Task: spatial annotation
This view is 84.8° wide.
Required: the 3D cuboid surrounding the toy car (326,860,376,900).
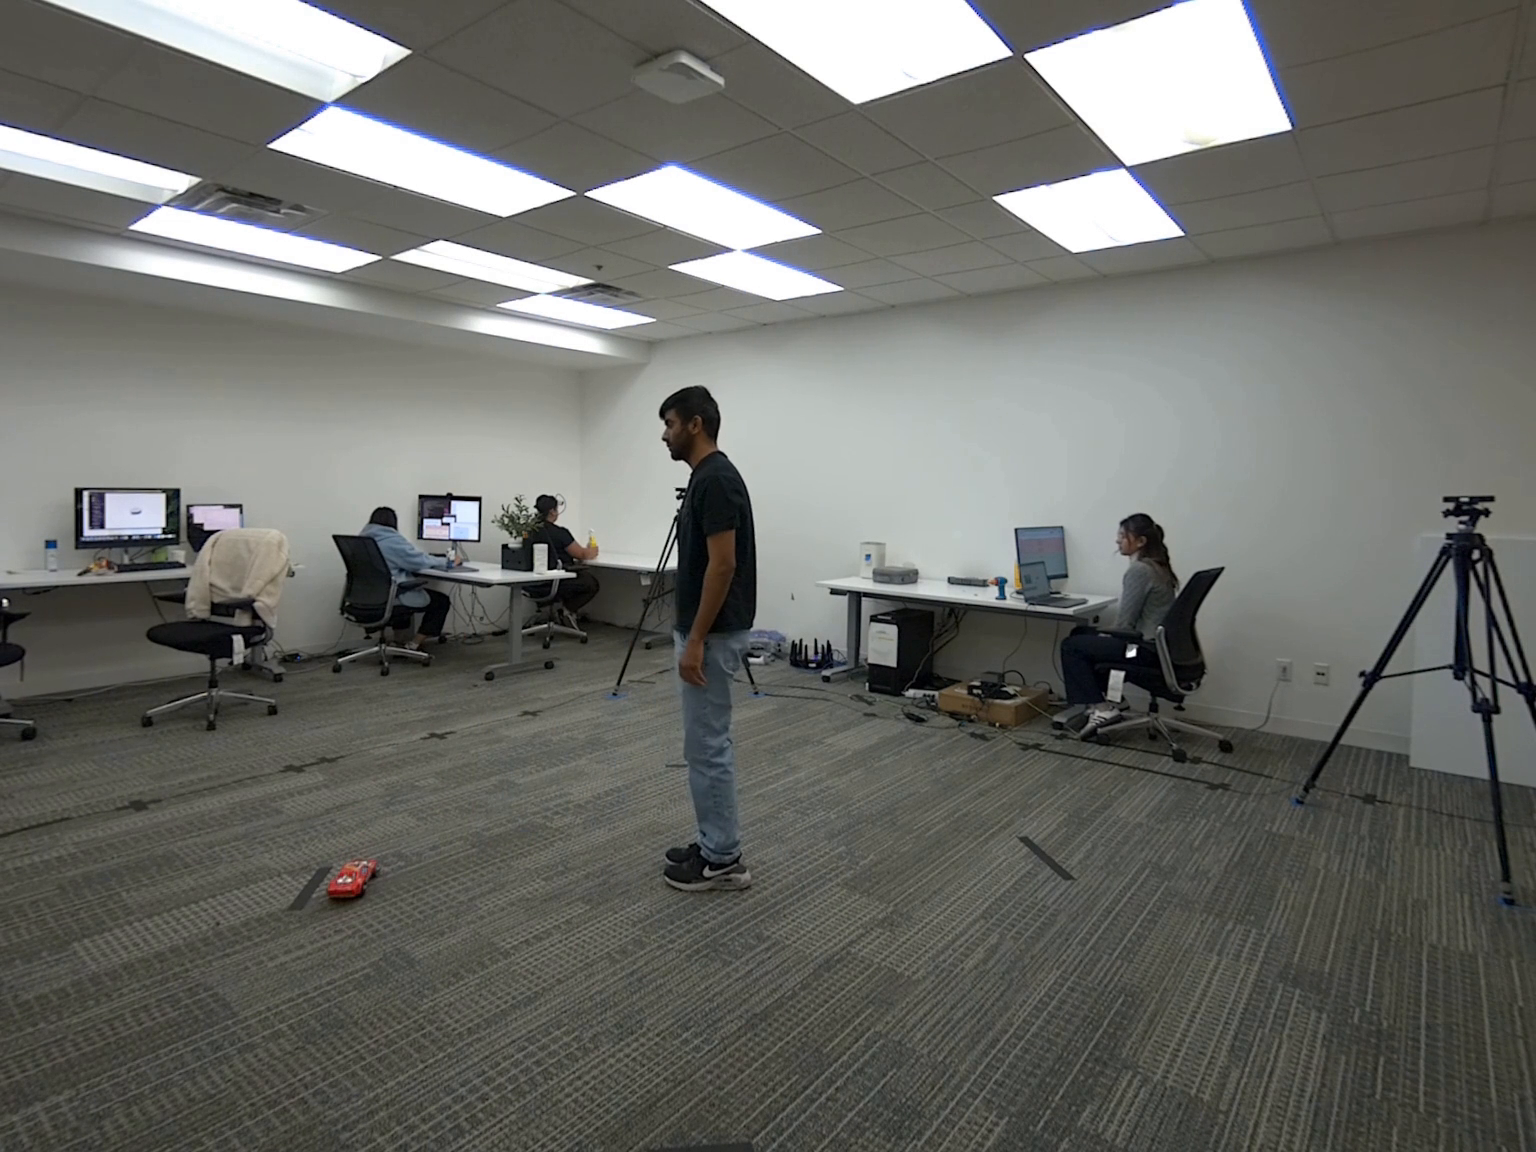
[{"bbox_3d":[-1.441,1.042,2.923,0.129,0.084,0.255,1,-5,-7],"label":"toy car"}]
